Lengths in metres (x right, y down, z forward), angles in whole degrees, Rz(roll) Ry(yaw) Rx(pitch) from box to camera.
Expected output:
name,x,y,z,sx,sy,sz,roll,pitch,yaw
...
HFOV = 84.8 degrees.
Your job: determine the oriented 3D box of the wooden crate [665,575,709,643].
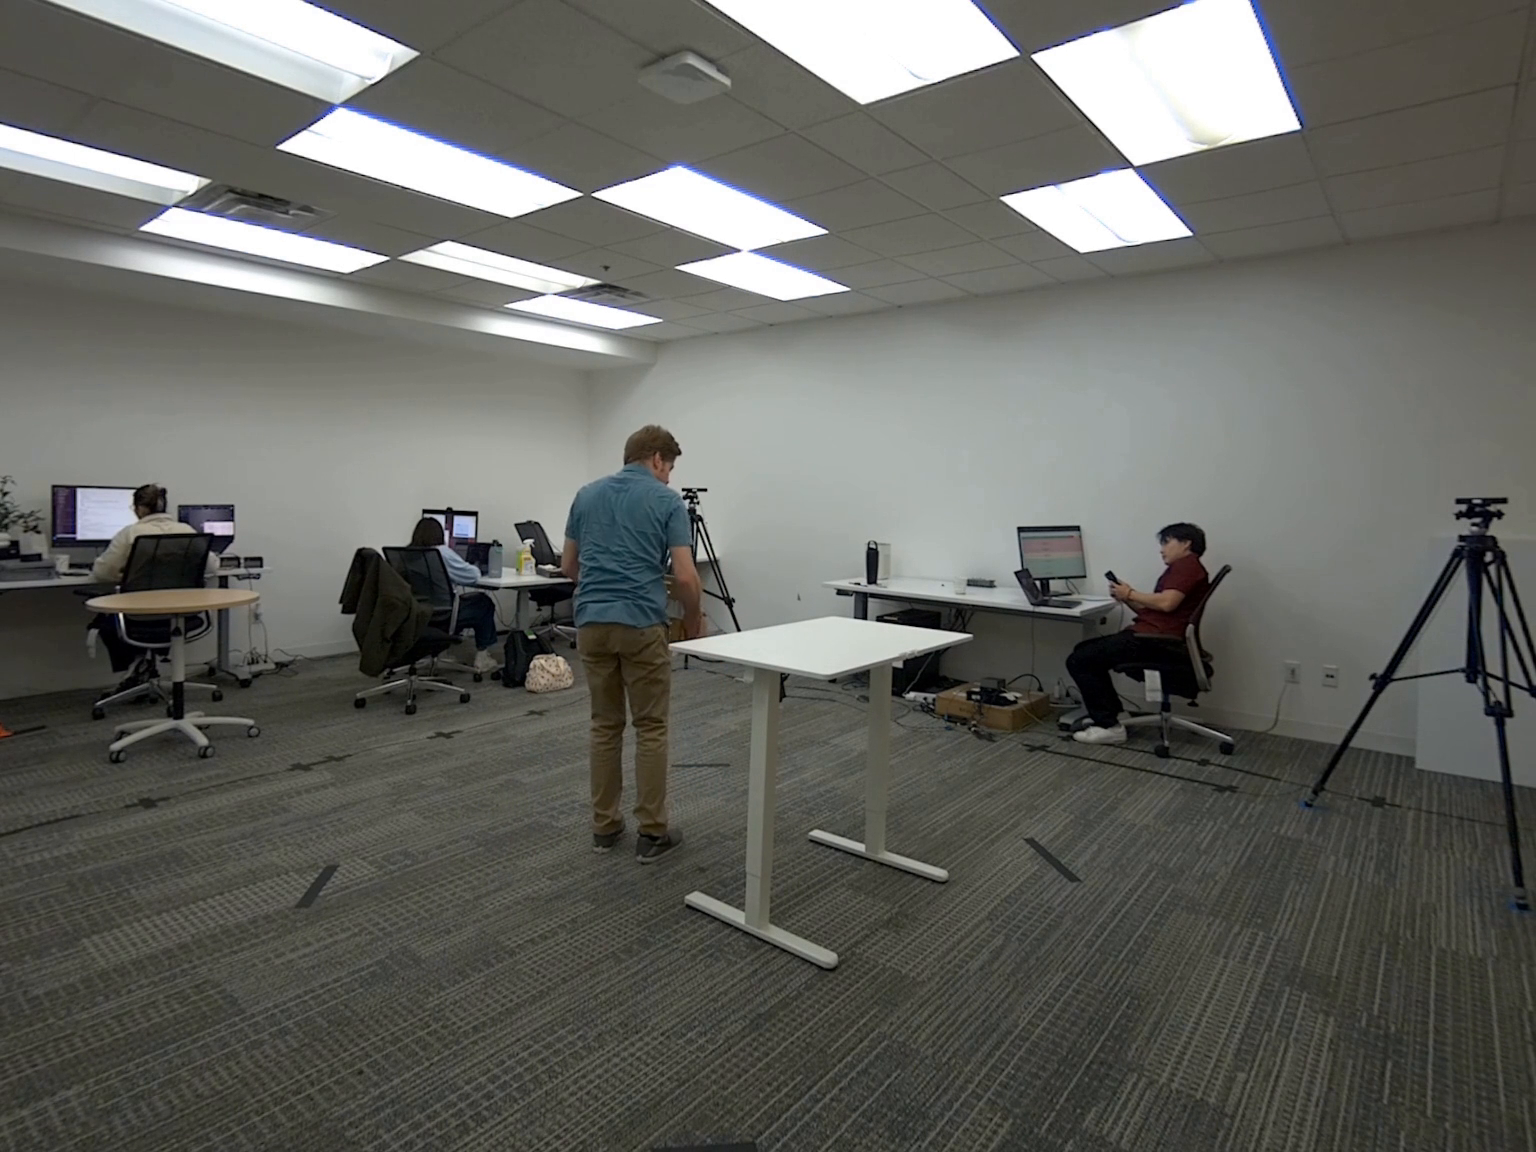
name,x,y,z,sx,sy,sz,roll,pitch,yaw
wooden crate,-0.443,0.109,3.580,0.333,0.272,0.295,8,4,23
